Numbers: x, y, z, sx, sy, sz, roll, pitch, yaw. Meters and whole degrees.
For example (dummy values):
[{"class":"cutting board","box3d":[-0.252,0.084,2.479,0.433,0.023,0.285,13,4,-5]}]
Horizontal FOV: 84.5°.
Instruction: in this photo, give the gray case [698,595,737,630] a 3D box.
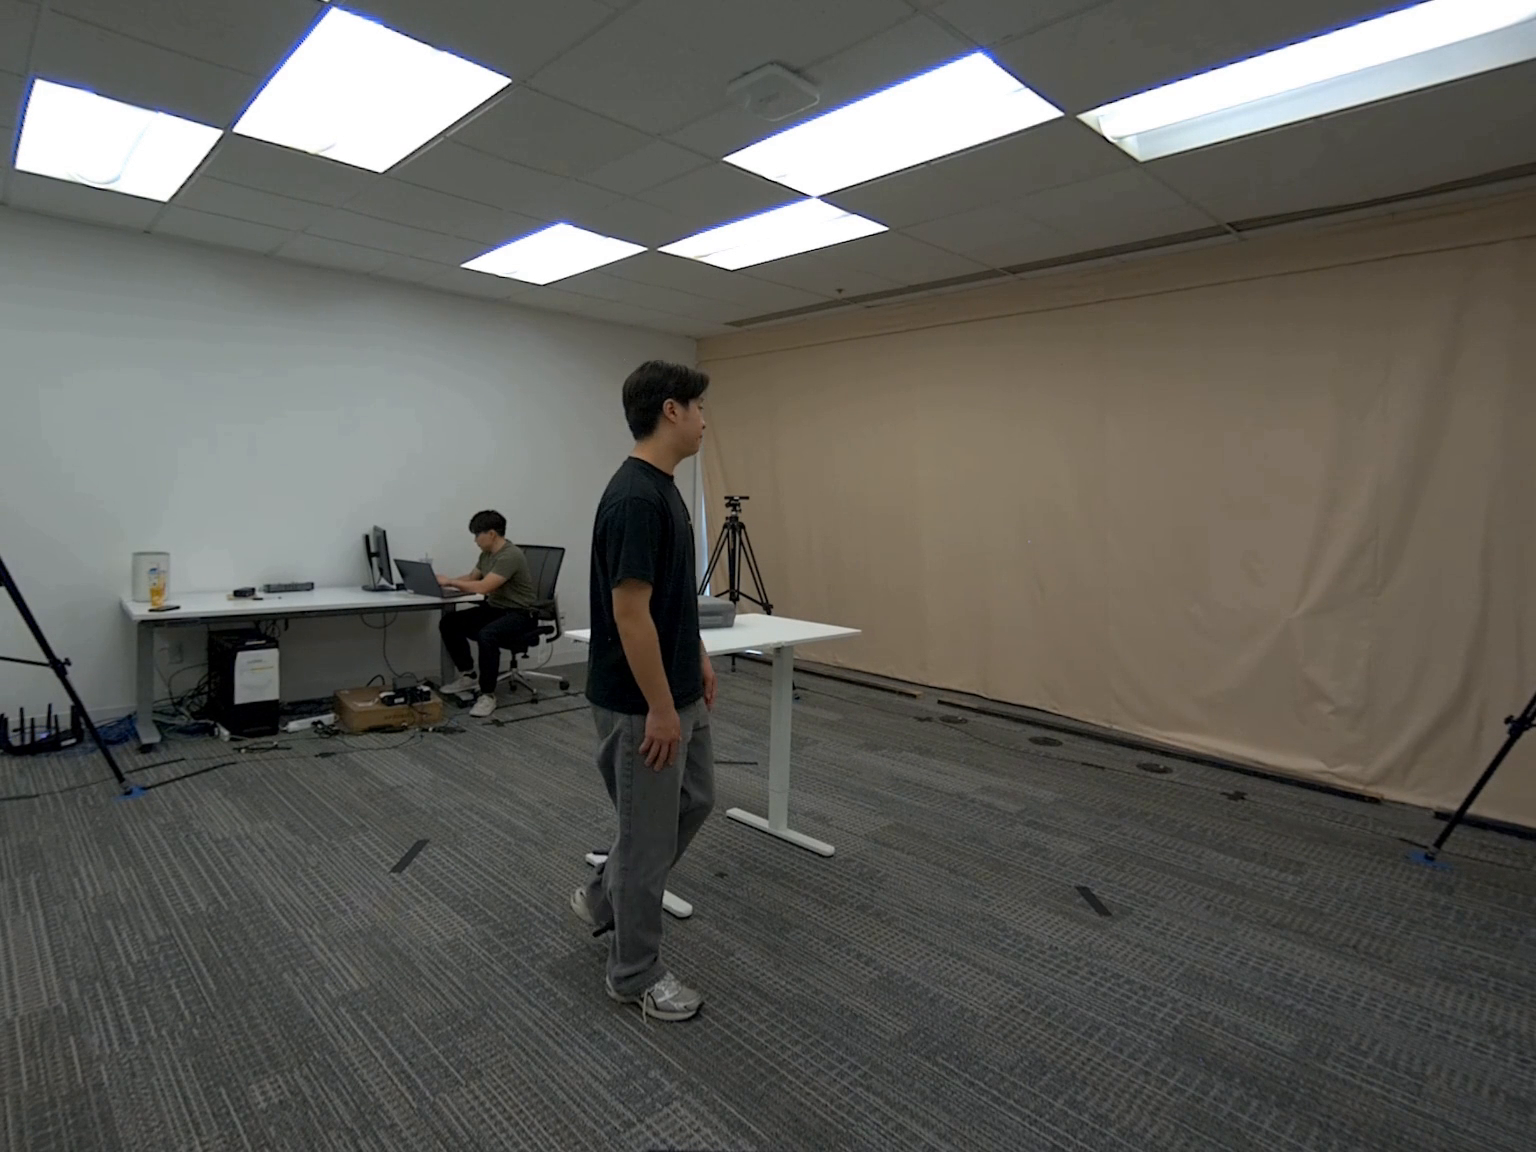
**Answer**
[{"class":"gray case","box3d":[-0.288,0.143,3.366,0.252,0.104,0.266,0,6,-27]}]
